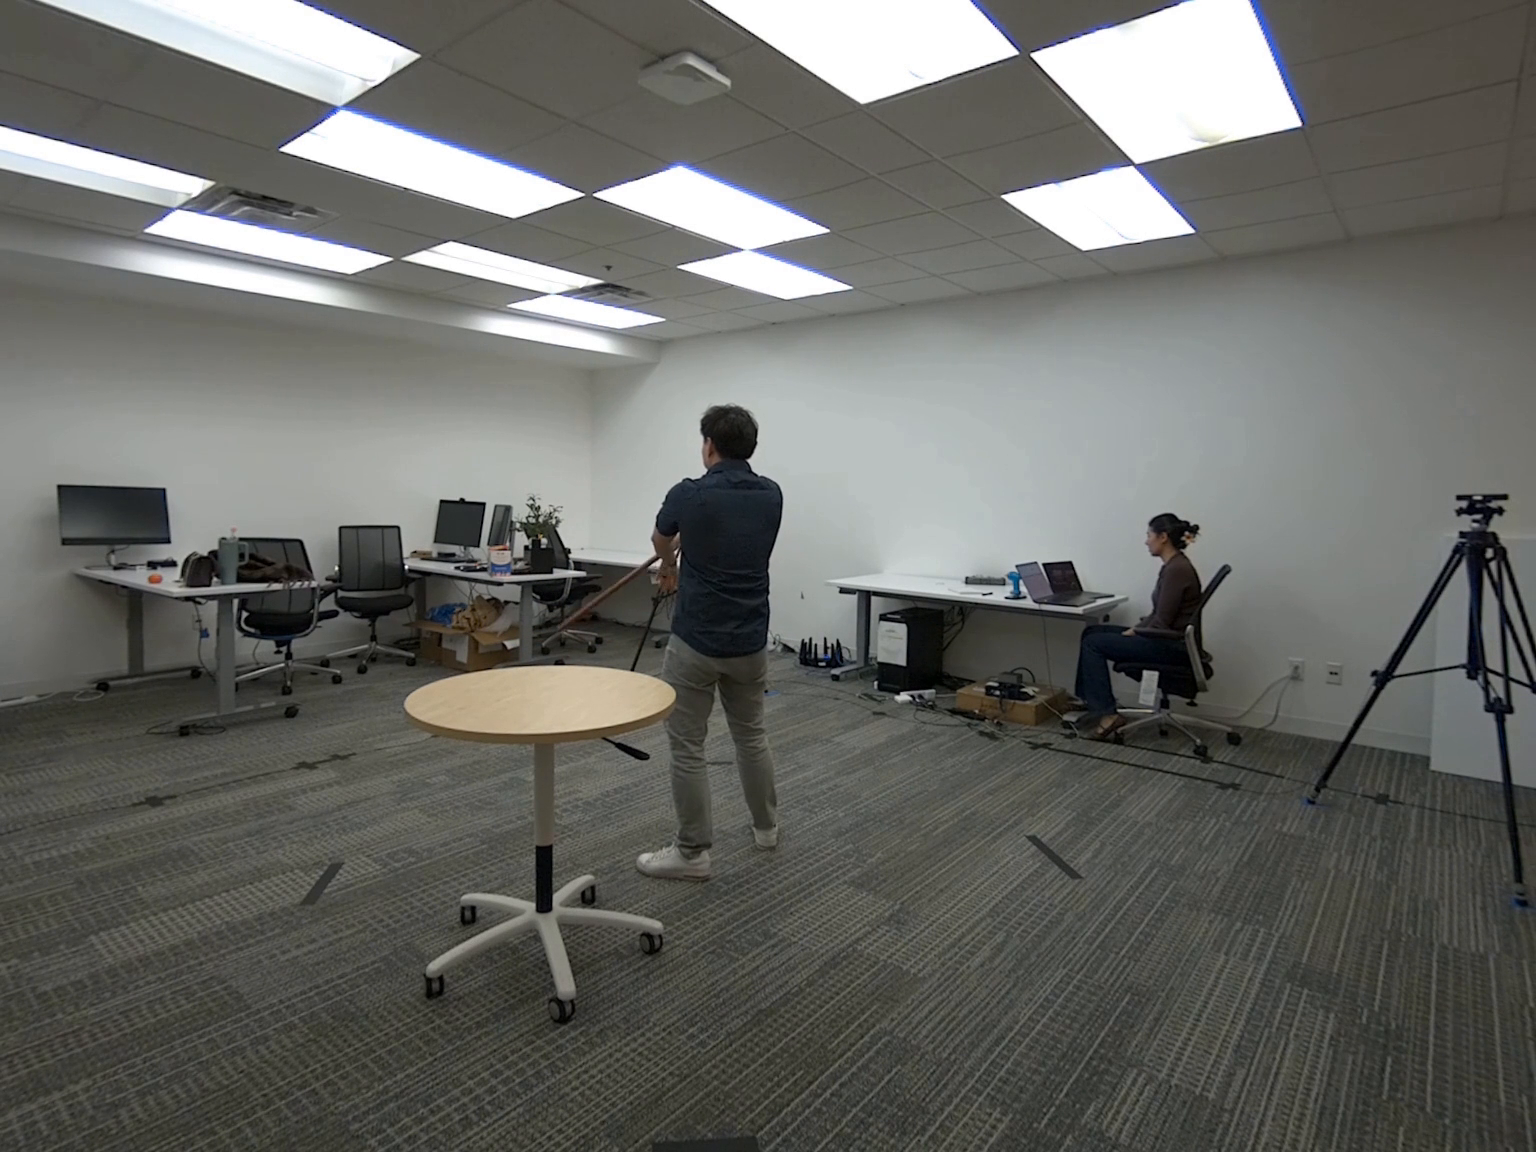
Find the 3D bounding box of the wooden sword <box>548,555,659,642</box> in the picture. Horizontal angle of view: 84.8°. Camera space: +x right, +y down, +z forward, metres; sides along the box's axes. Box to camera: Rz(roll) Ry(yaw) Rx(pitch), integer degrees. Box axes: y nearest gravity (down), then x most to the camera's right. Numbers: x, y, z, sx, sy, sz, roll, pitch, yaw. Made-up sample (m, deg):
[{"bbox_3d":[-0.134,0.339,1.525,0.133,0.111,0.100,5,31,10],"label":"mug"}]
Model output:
[{"bbox_3d":[-0.464,-0.077,3.474,1.021,0.023,0.053,-40,39,-17],"label":"wooden sword"}]
